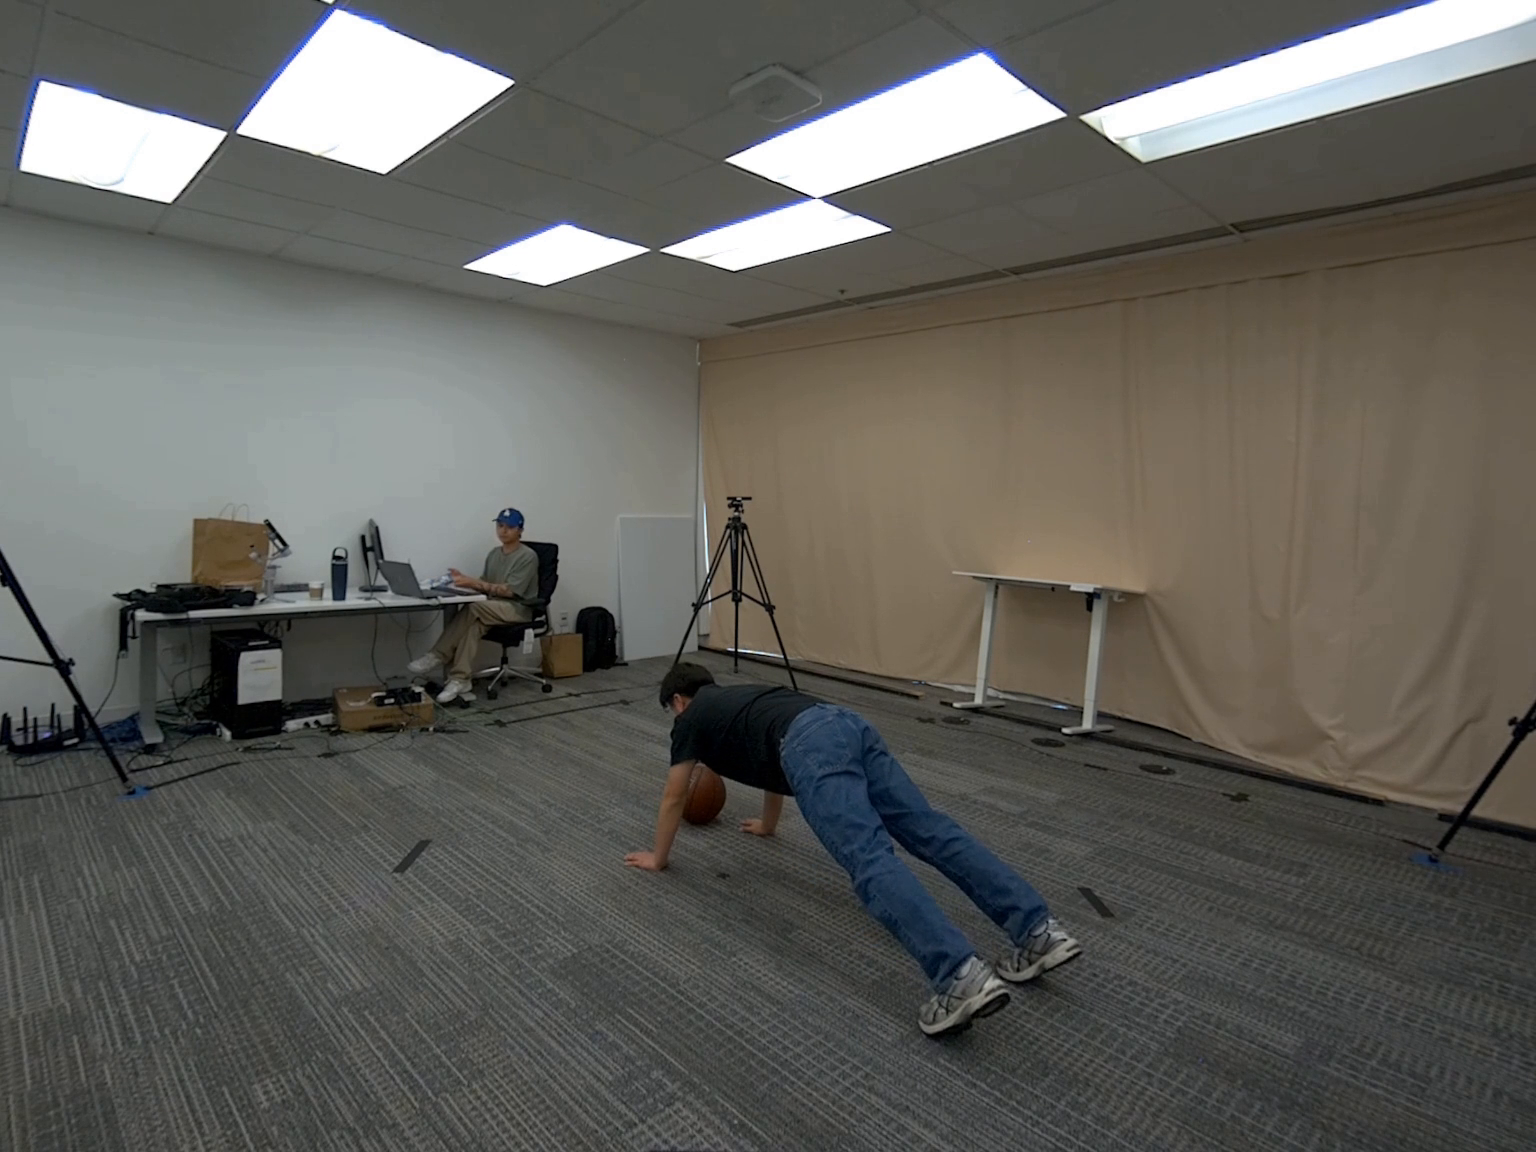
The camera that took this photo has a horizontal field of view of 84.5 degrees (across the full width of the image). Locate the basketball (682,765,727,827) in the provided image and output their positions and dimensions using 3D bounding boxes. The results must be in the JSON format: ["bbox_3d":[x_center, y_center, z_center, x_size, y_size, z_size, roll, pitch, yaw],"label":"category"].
[{"bbox_3d":[-0.306,0.934,3.623,0.236,0.235,0.237,1,4,-1],"label":"basketball"}]
